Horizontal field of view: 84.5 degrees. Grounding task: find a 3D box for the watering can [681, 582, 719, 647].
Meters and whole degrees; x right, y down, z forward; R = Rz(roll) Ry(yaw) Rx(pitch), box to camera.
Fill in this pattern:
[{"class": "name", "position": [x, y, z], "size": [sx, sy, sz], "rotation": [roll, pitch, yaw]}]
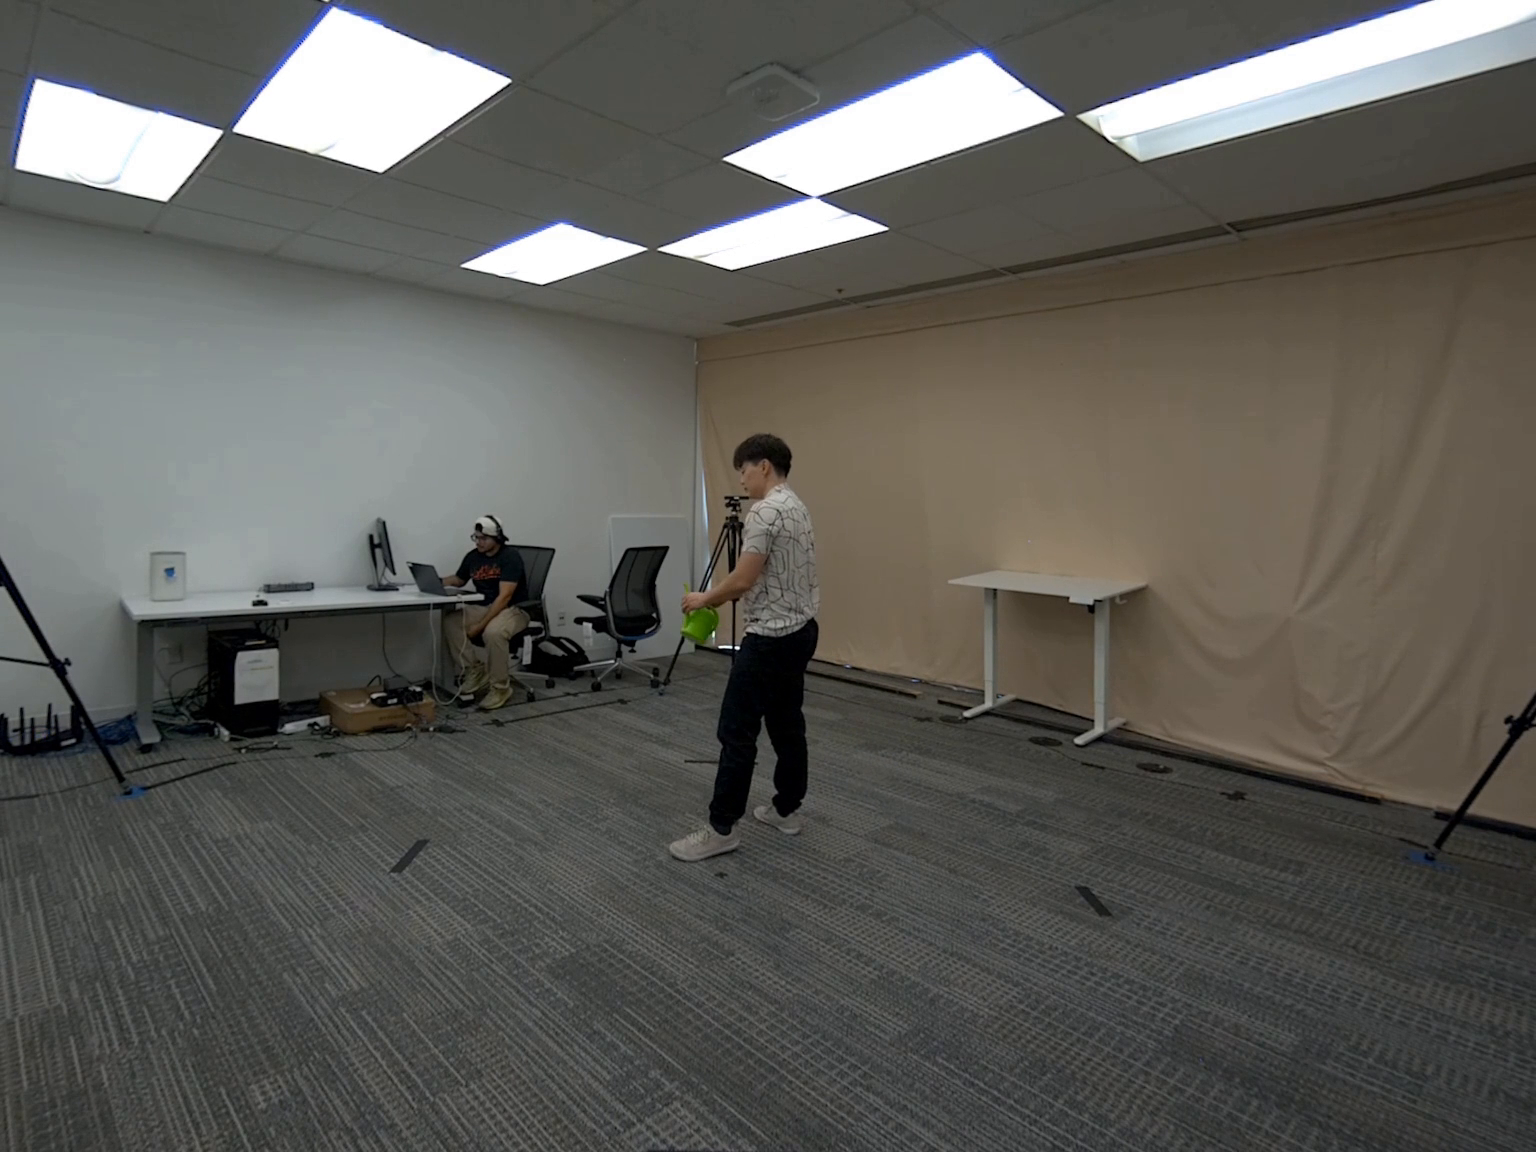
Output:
[{"class": "watering can", "position": [-0.327, 0.173, 3.605], "size": [0.273, 0.178, 0.099], "rotation": [36, -25, -19]}]
